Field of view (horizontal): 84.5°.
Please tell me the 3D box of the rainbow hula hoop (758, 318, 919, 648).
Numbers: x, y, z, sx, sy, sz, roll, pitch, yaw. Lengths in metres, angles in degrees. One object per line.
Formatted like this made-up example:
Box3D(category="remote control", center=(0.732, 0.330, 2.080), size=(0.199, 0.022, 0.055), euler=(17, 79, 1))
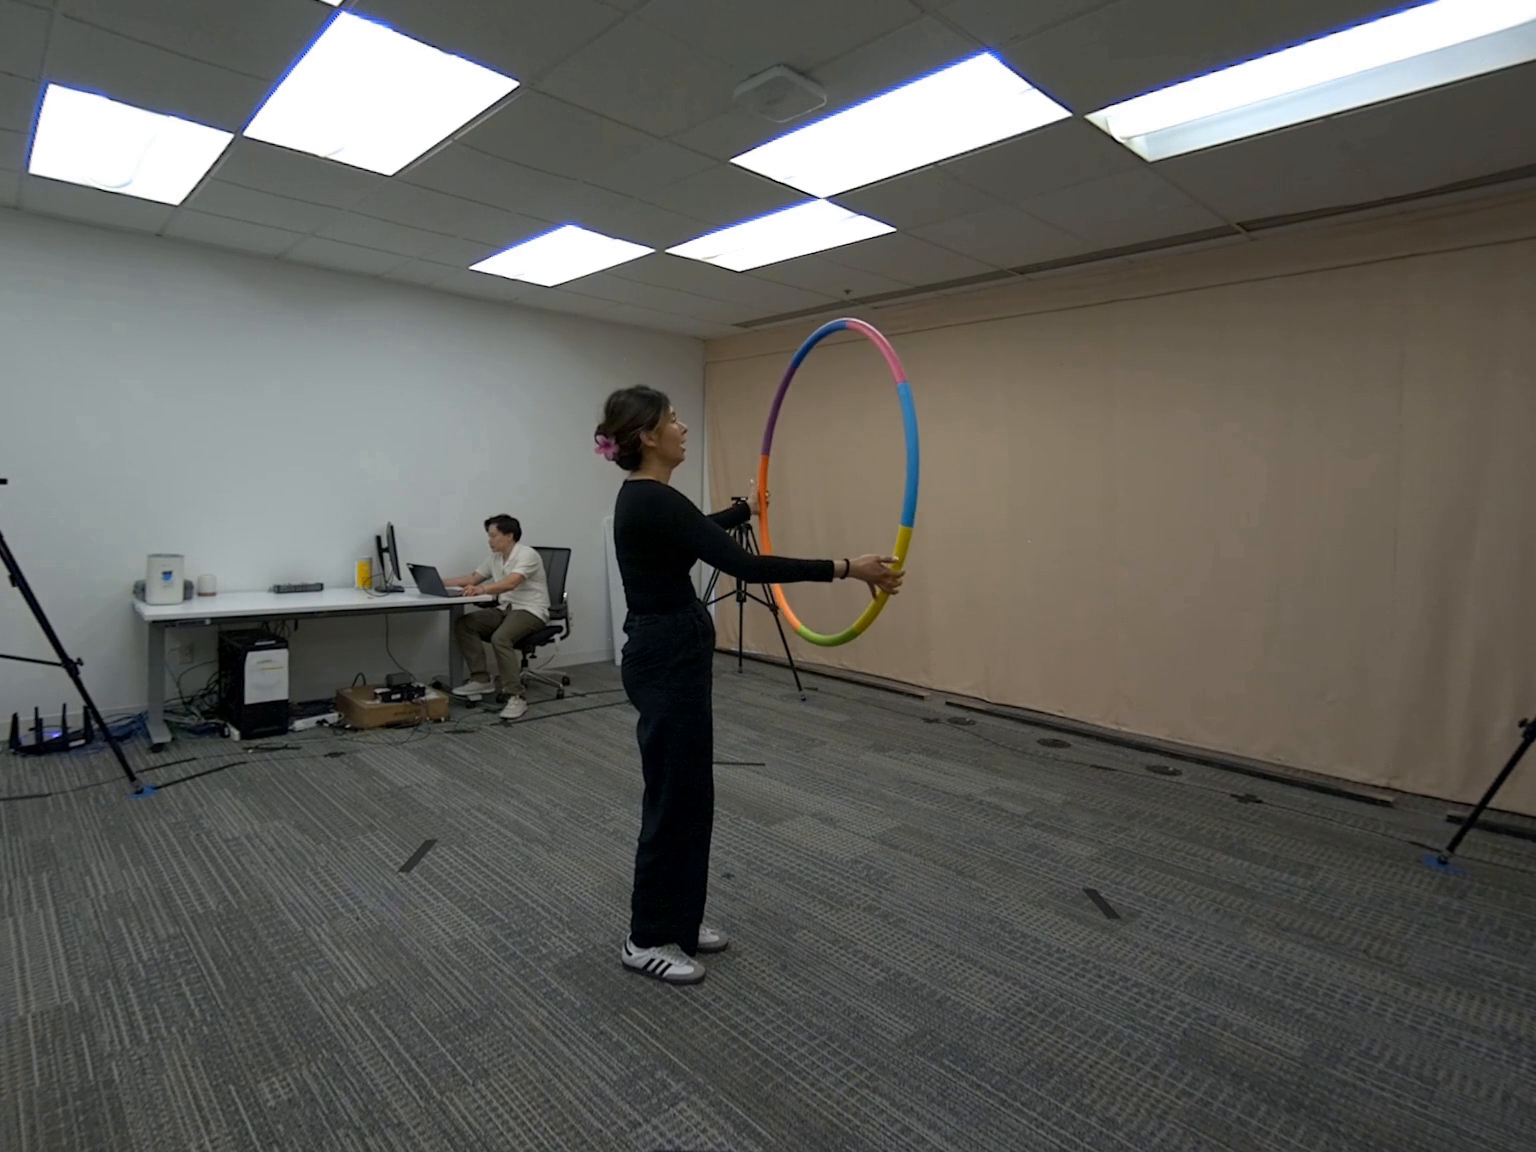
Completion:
Box3D(category="rainbow hula hoop", center=(0.170, -0.273, 2.573), size=(0.051, 0.983, 1.004), euler=(3, 3, -23))
